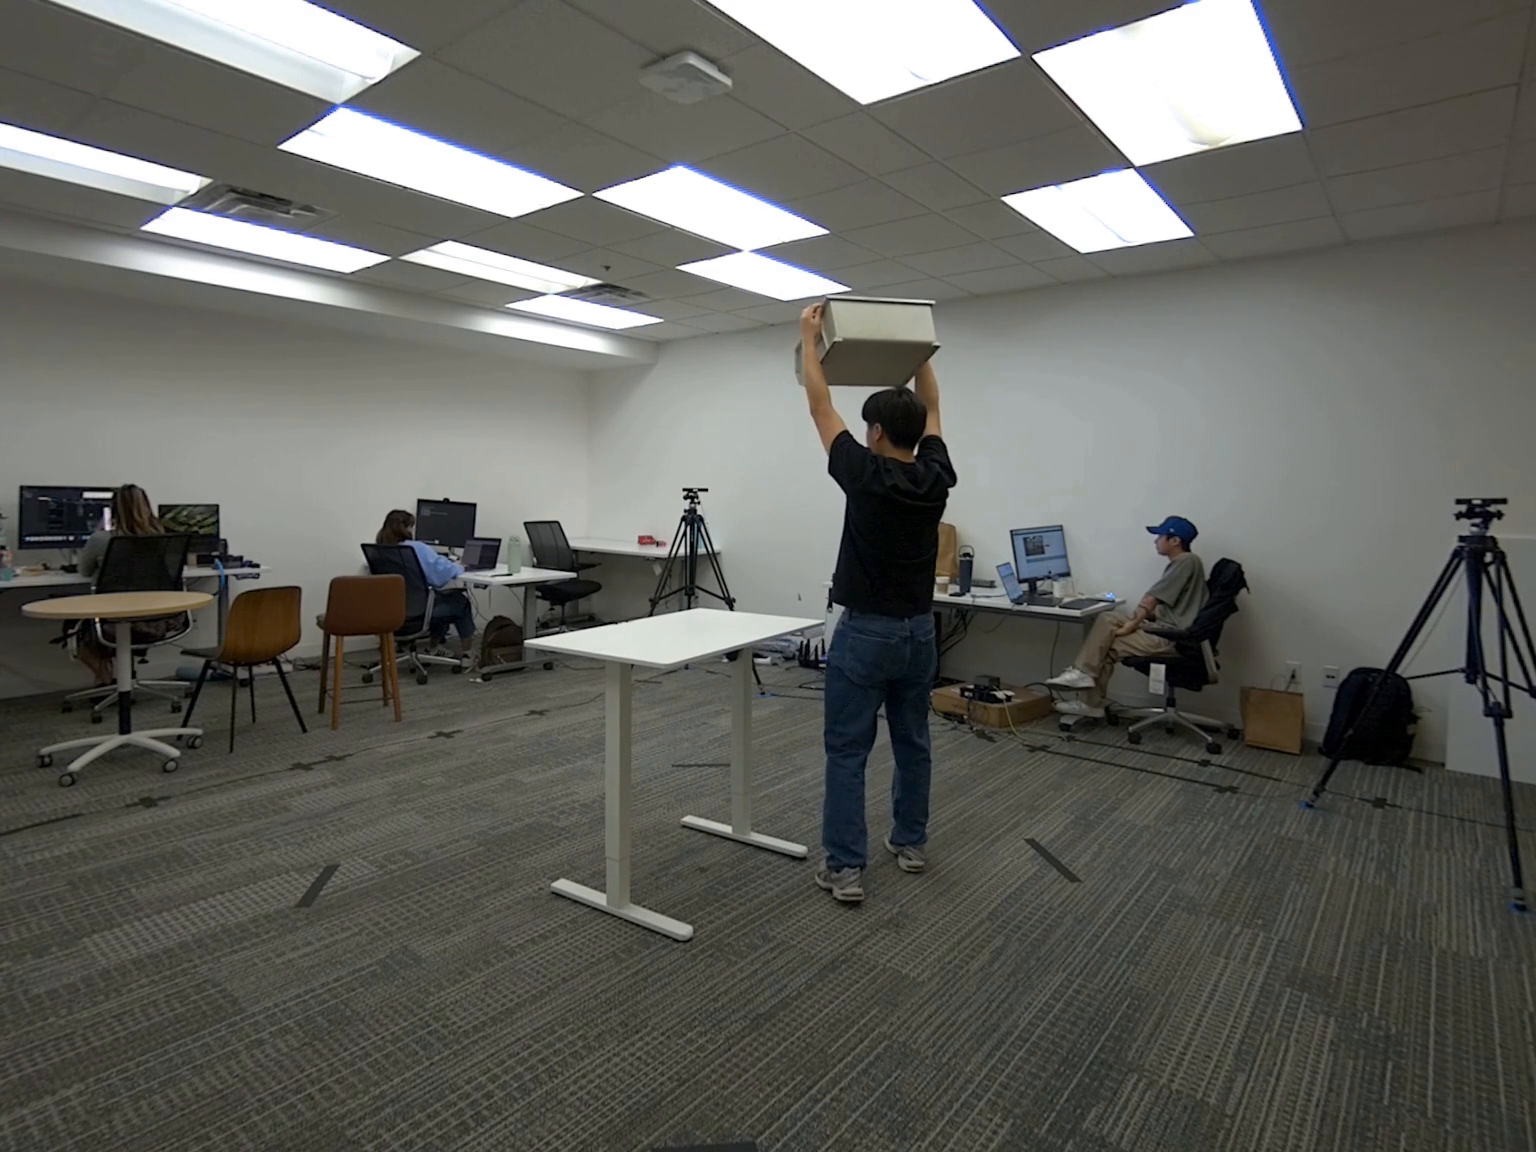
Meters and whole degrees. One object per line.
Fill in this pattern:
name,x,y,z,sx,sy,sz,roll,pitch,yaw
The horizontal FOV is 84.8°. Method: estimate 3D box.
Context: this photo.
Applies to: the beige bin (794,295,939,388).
beige bin,0.350,-0.854,3.155,0.415,0.192,0.376,-3,-17,-17
